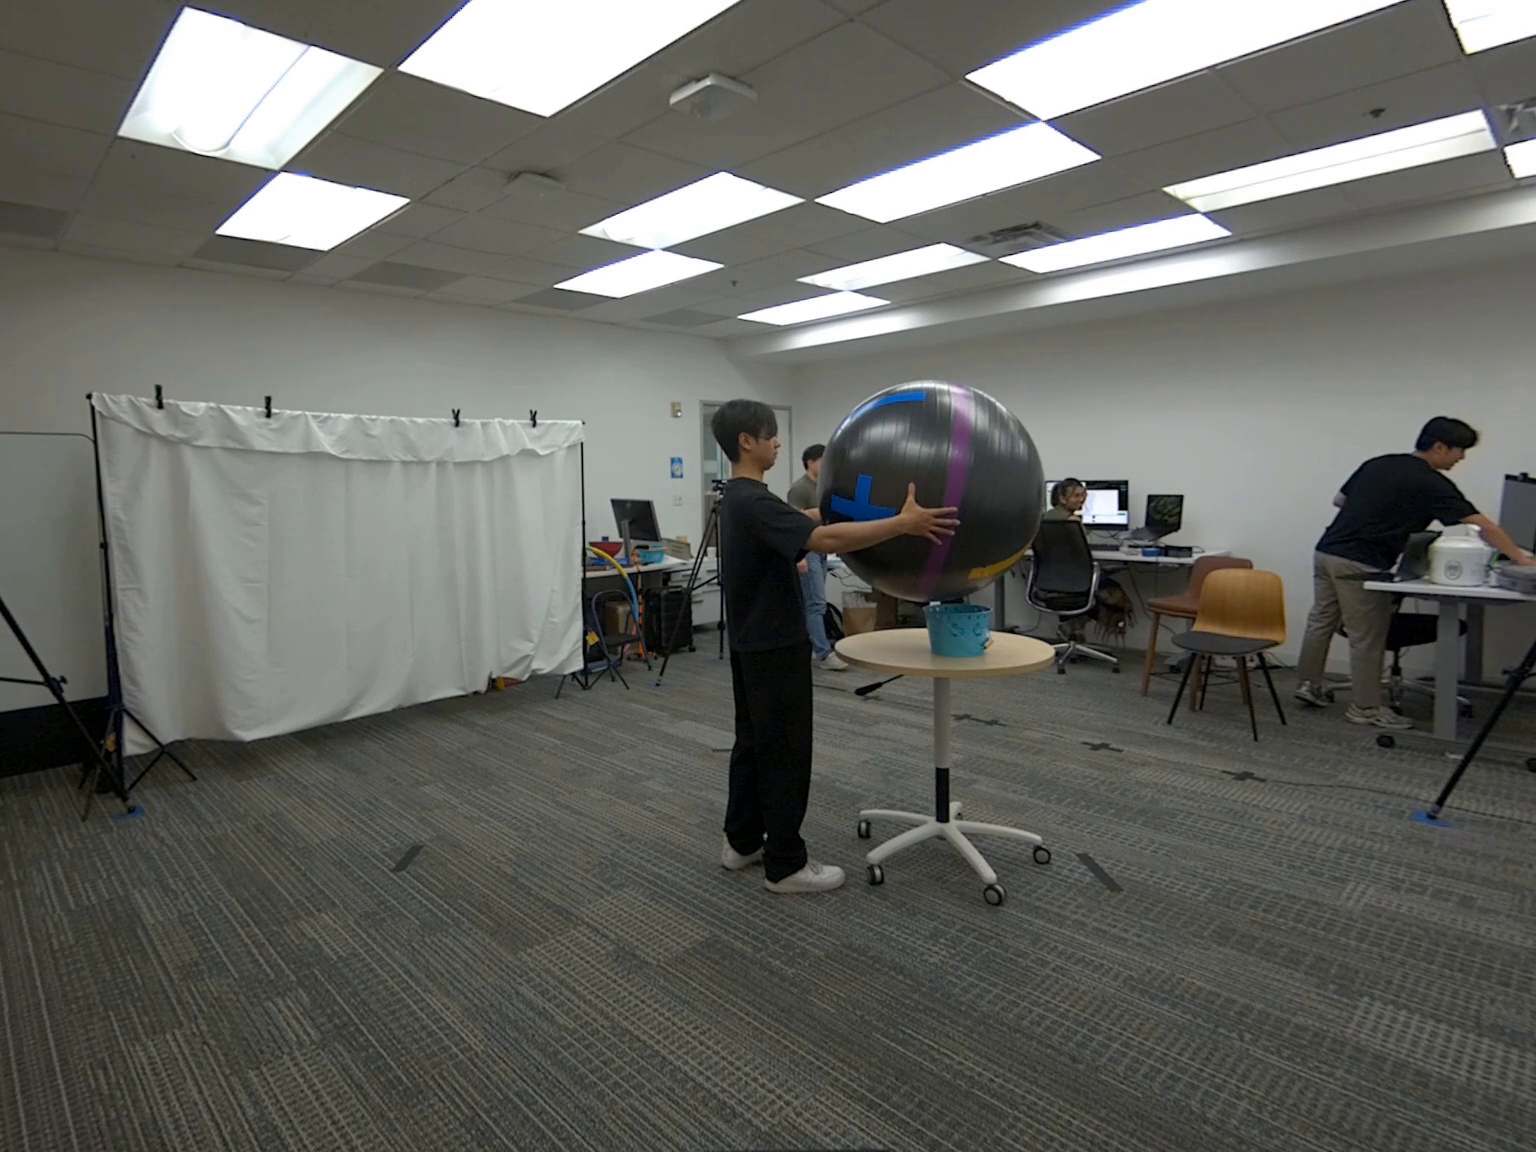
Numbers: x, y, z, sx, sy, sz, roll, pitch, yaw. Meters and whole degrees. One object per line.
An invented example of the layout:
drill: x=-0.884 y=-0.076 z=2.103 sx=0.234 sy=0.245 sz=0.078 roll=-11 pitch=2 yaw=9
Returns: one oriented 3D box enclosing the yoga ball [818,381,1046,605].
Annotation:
yoga ball: x=0.559 y=-0.290 z=2.955 sx=0.757 sy=0.755 sz=0.762 roll=-1 pitch=5 yaw=-2
